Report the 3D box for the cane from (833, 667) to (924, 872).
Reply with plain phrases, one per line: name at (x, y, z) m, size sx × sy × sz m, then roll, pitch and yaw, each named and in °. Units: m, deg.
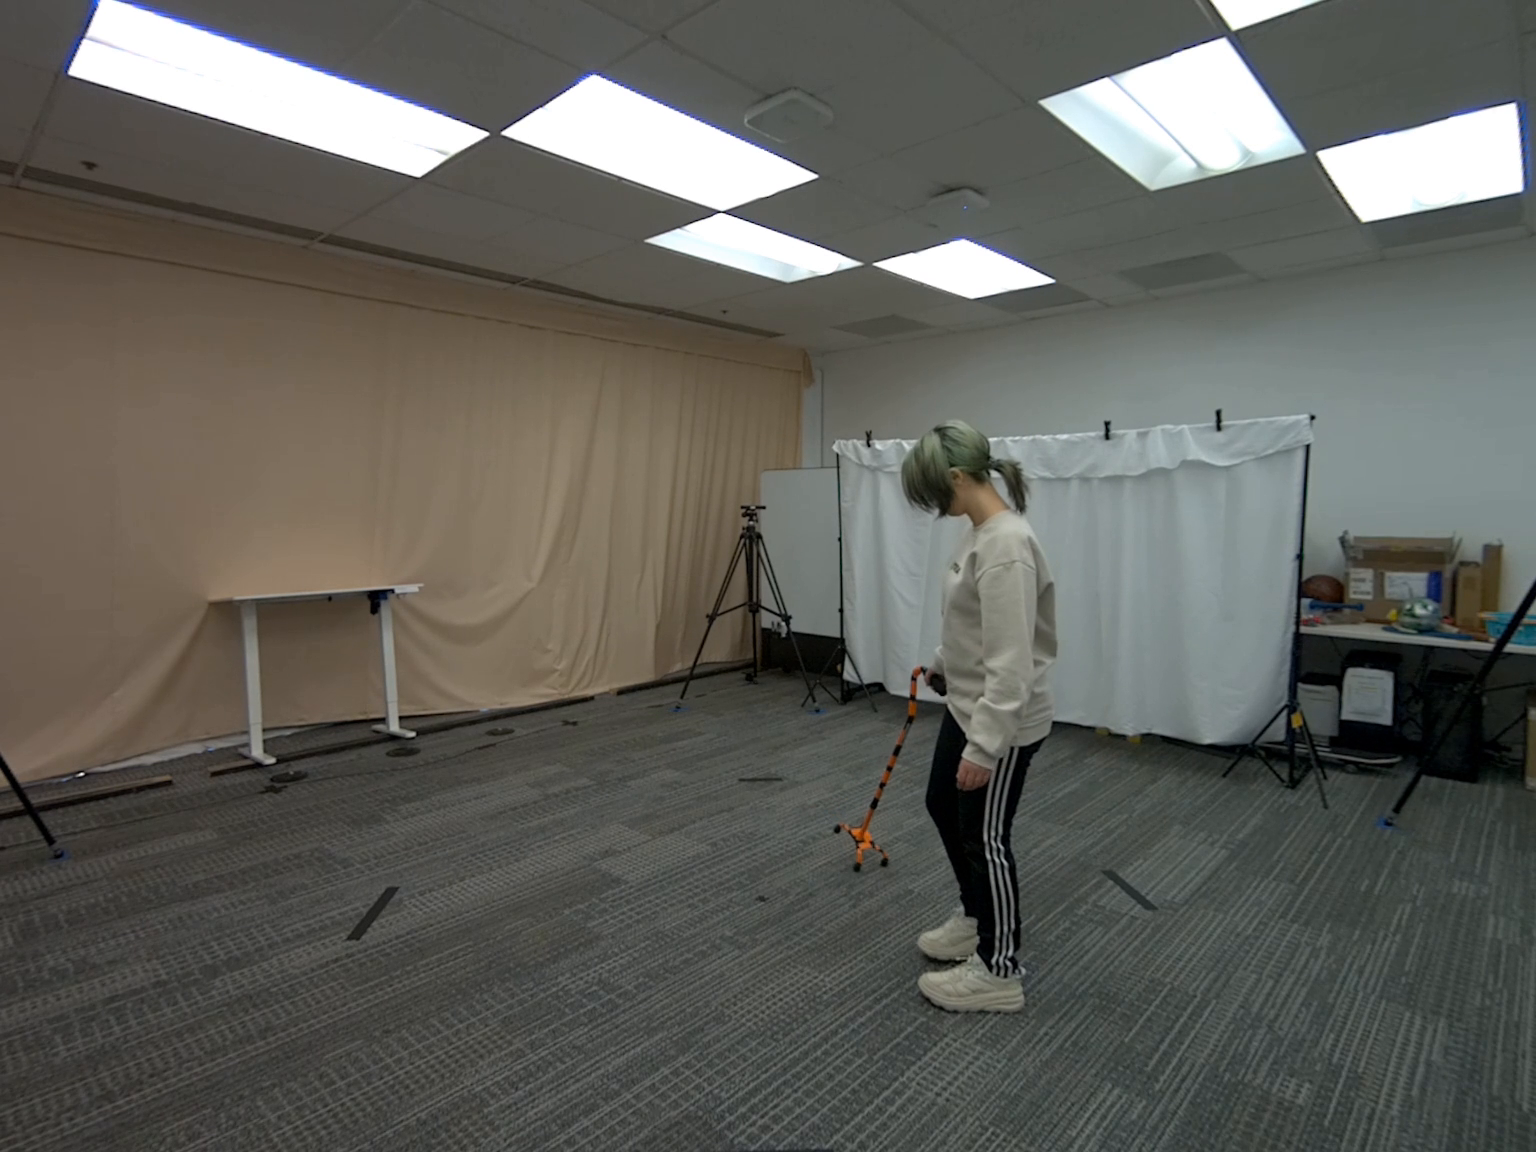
cane at (0.459, 0.694, 3.075) m, size 0.148 × 0.899 × 0.213 m, roll -1°, pitch 34°, yaw -25°
